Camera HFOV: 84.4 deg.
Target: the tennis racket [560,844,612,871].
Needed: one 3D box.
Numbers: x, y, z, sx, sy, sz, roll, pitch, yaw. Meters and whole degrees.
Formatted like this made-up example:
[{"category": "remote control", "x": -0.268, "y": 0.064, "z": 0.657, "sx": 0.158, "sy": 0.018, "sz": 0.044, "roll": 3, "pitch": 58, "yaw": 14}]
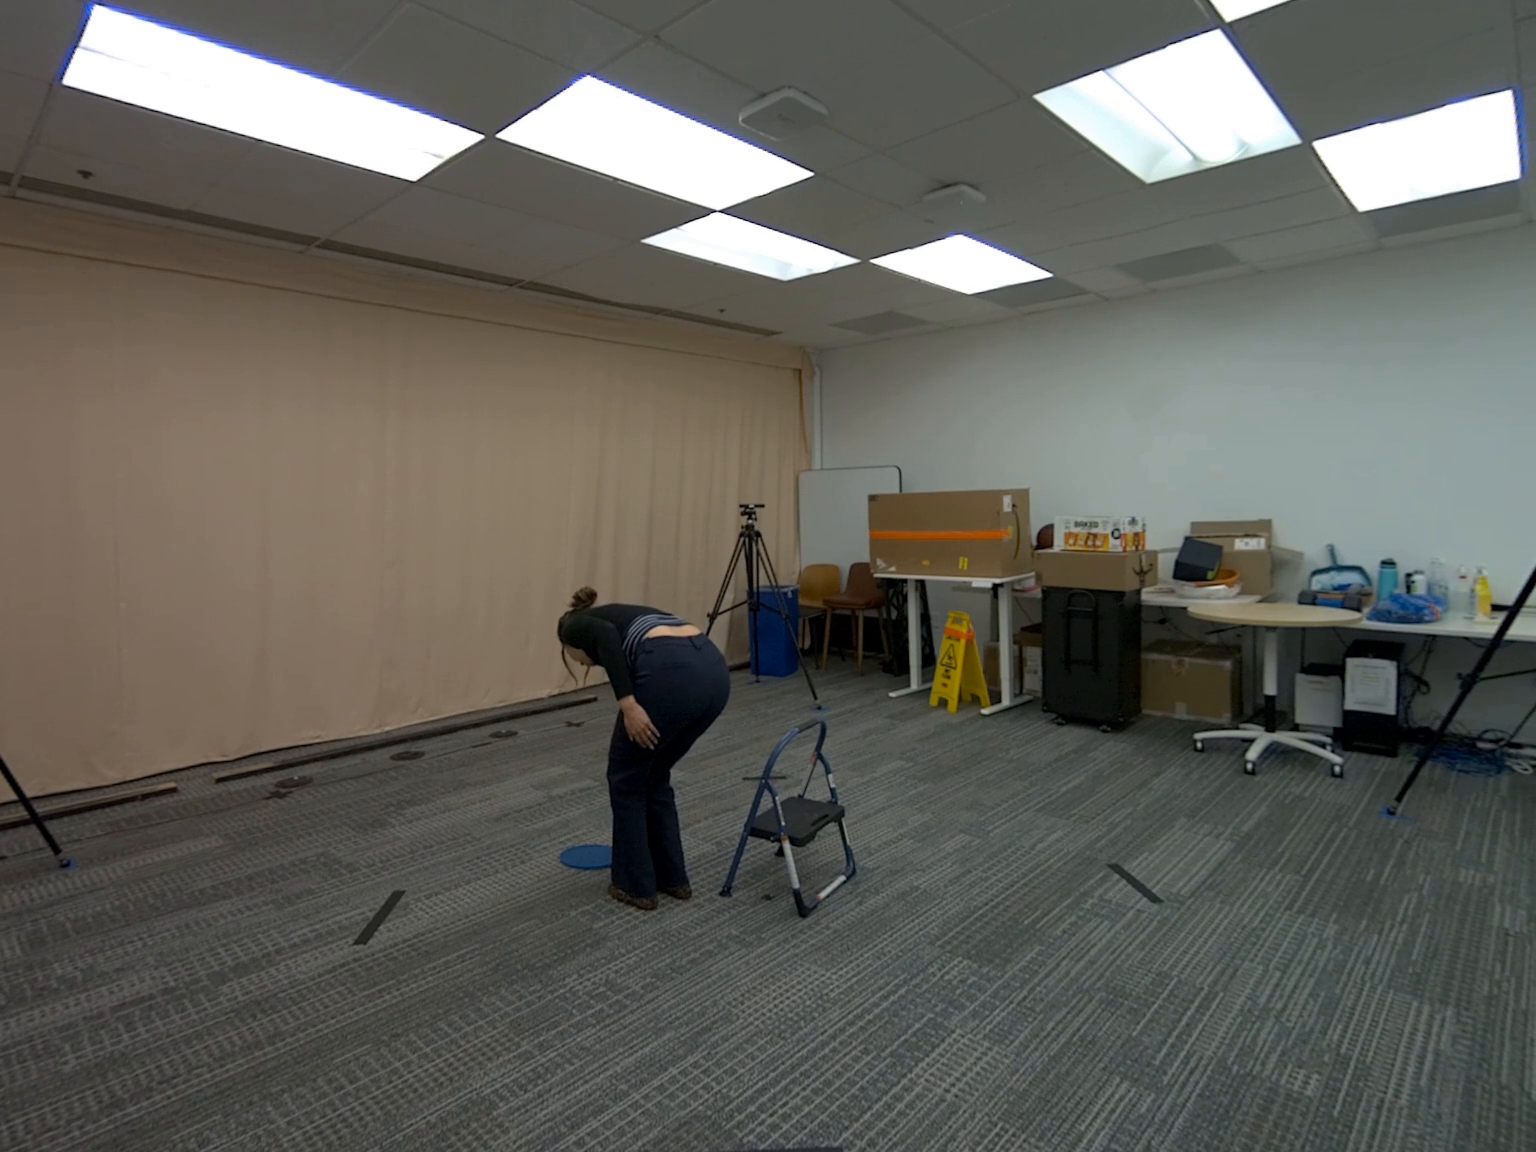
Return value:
[{"category": "tennis racket", "x": -0.623, "y": 1.108, "z": 3.309, "sx": 0.444, "sy": 0.032, "sz": 0.209, "roll": 0, "pitch": 4, "yaw": 26}]
